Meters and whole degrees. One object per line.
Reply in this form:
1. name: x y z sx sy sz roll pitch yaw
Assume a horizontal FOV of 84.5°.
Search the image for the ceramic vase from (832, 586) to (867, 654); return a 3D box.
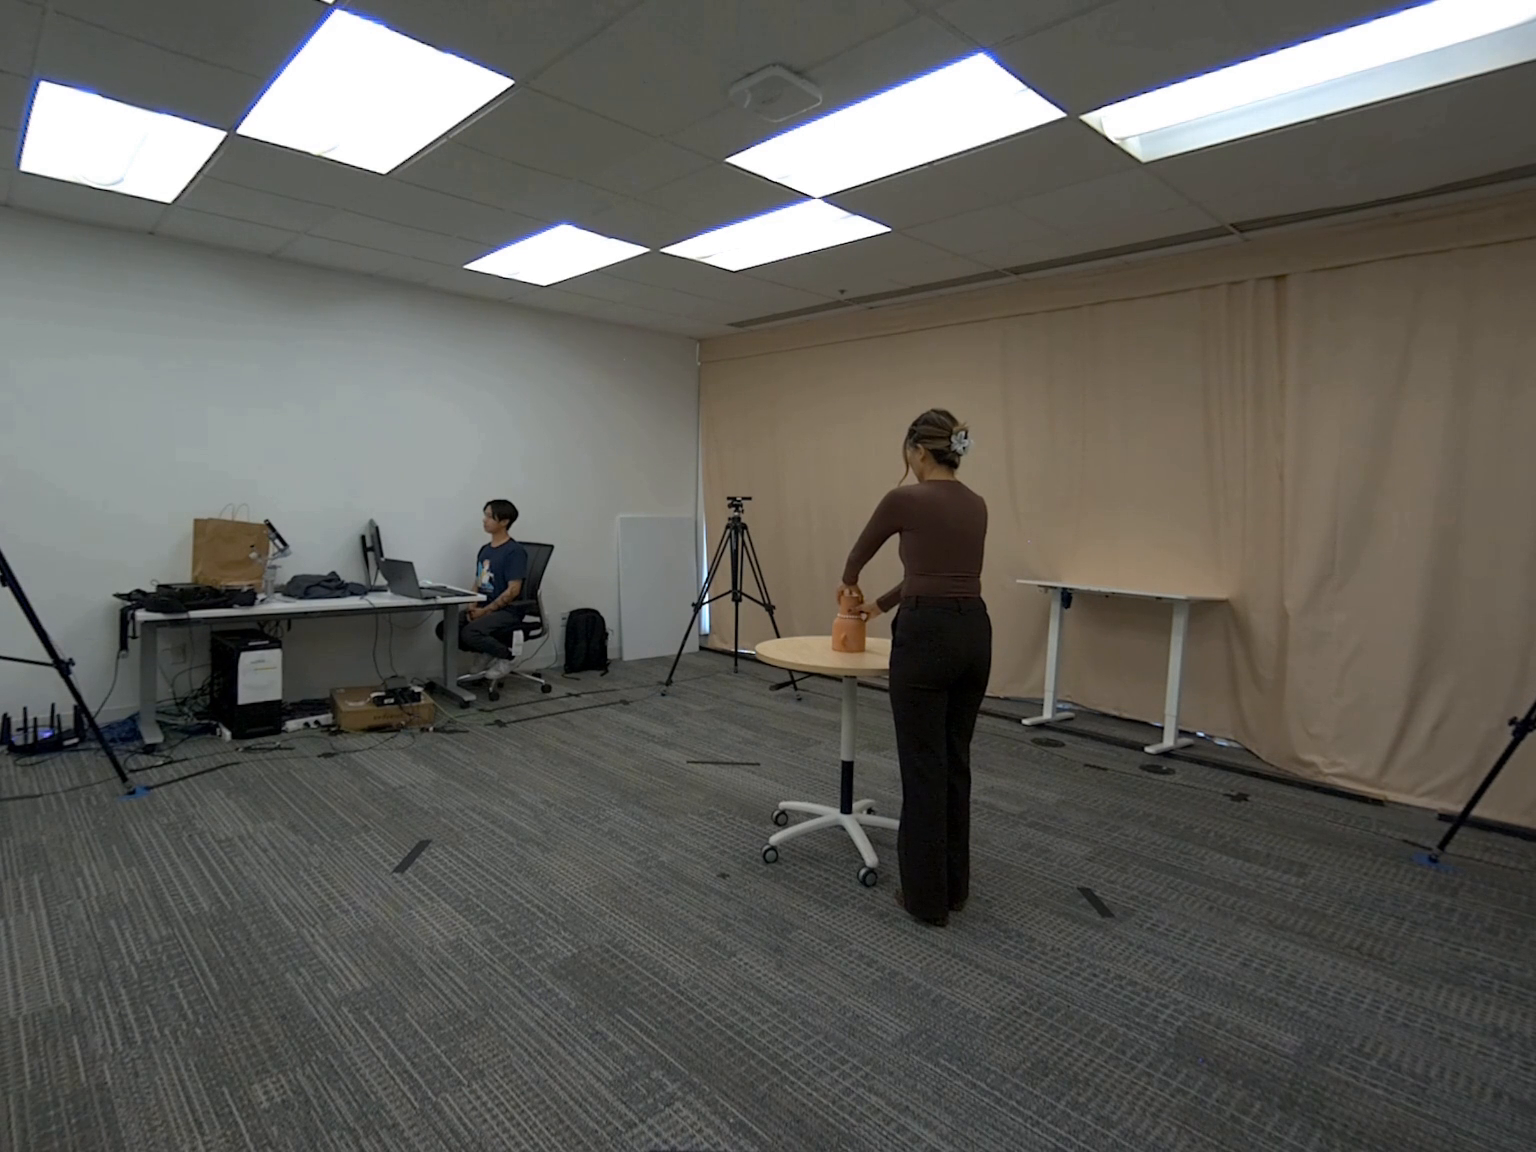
1. ceramic vase: 0.319 0.187 3.379 0.133 0.219 0.161 2 3 -19
